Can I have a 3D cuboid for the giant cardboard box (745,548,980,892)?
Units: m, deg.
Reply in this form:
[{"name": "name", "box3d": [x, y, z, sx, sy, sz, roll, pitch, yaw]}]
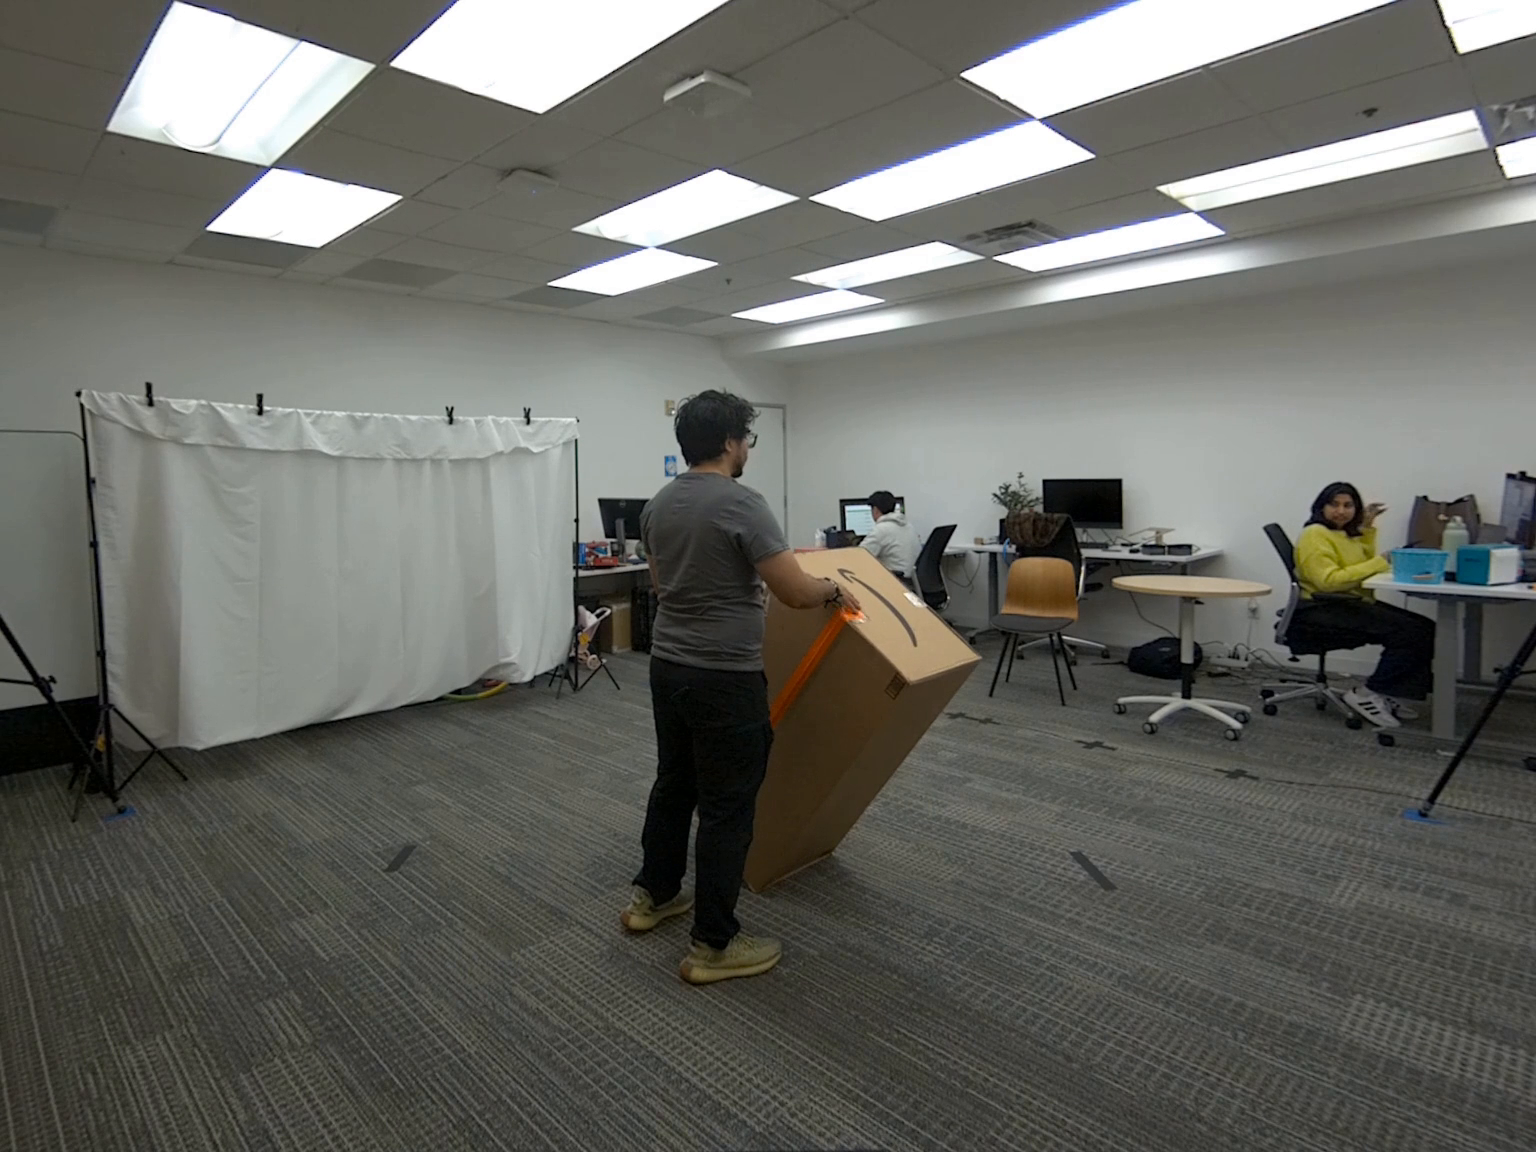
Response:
[{"name": "giant cardboard box", "box3d": [0.150, 0.485, 2.933, 0.415, 1.017, 0.598, -5, 43, -46]}]
